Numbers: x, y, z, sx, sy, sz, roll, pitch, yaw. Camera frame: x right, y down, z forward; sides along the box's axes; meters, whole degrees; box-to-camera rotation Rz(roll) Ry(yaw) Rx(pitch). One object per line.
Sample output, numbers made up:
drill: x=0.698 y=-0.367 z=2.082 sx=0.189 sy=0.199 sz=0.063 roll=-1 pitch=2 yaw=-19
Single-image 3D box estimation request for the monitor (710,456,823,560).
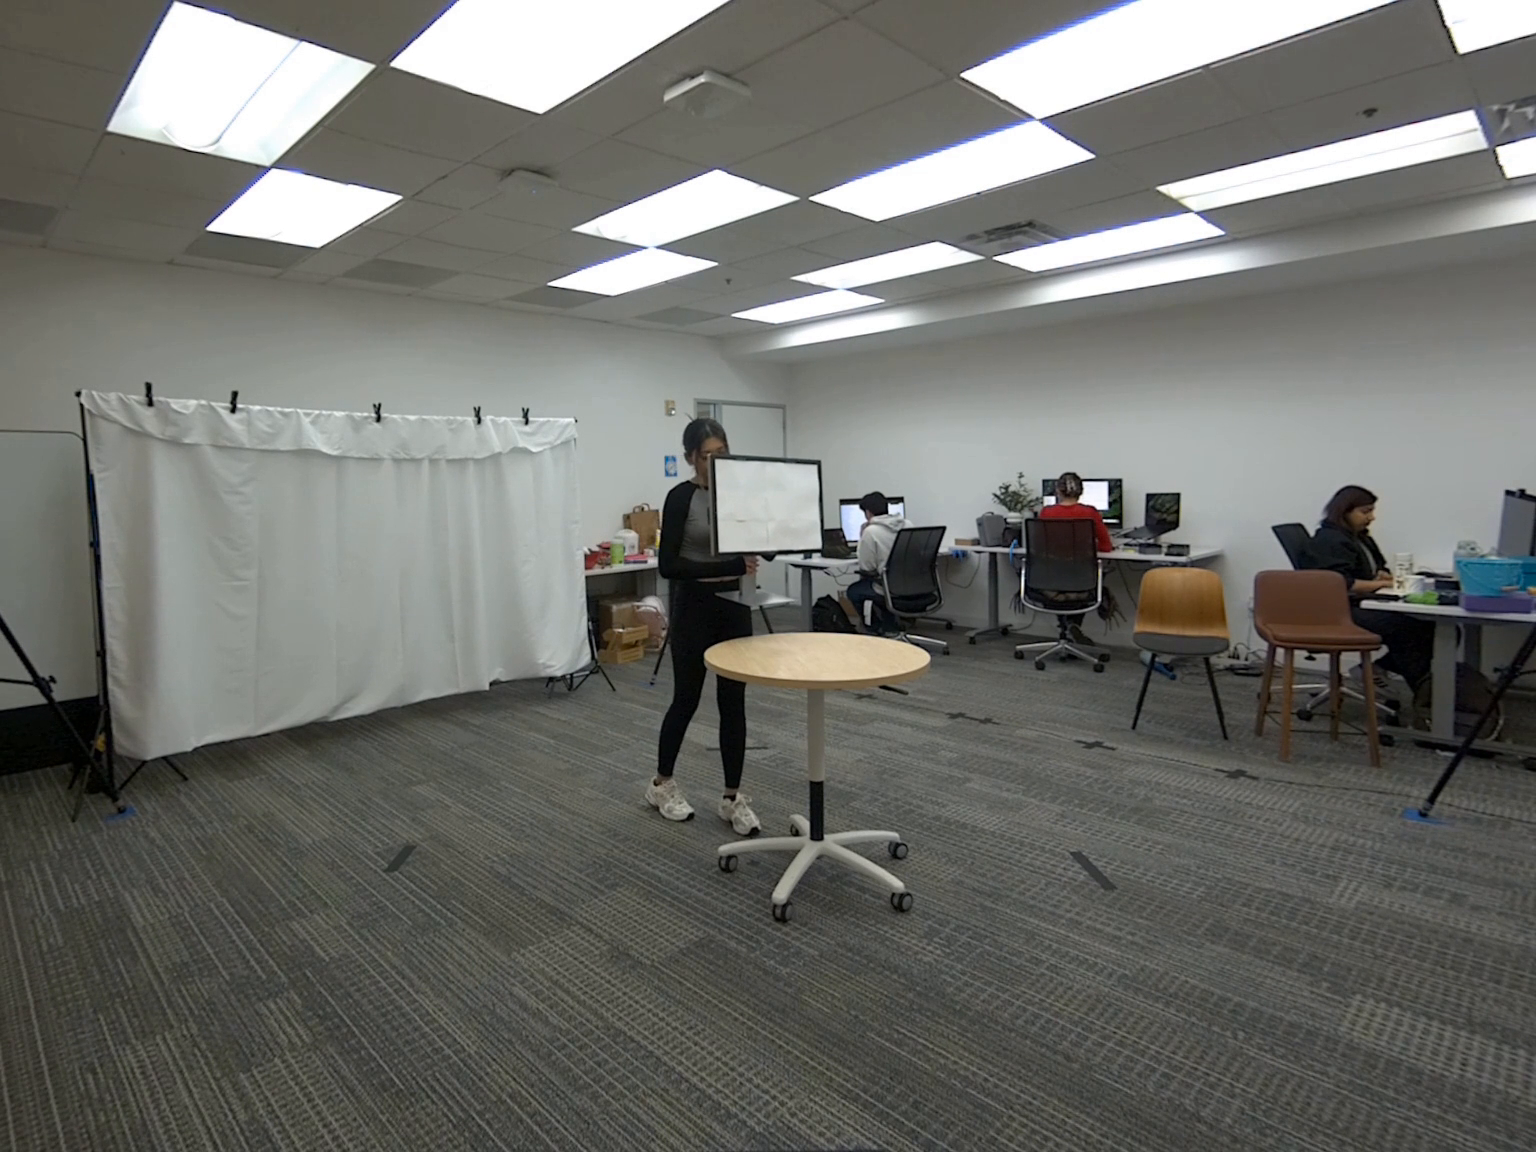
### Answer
monitor: x=-0.025 y=-0.176 z=3.204 sx=0.524 sy=0.519 sz=0.194 roll=-3 pitch=12 yaw=-42
